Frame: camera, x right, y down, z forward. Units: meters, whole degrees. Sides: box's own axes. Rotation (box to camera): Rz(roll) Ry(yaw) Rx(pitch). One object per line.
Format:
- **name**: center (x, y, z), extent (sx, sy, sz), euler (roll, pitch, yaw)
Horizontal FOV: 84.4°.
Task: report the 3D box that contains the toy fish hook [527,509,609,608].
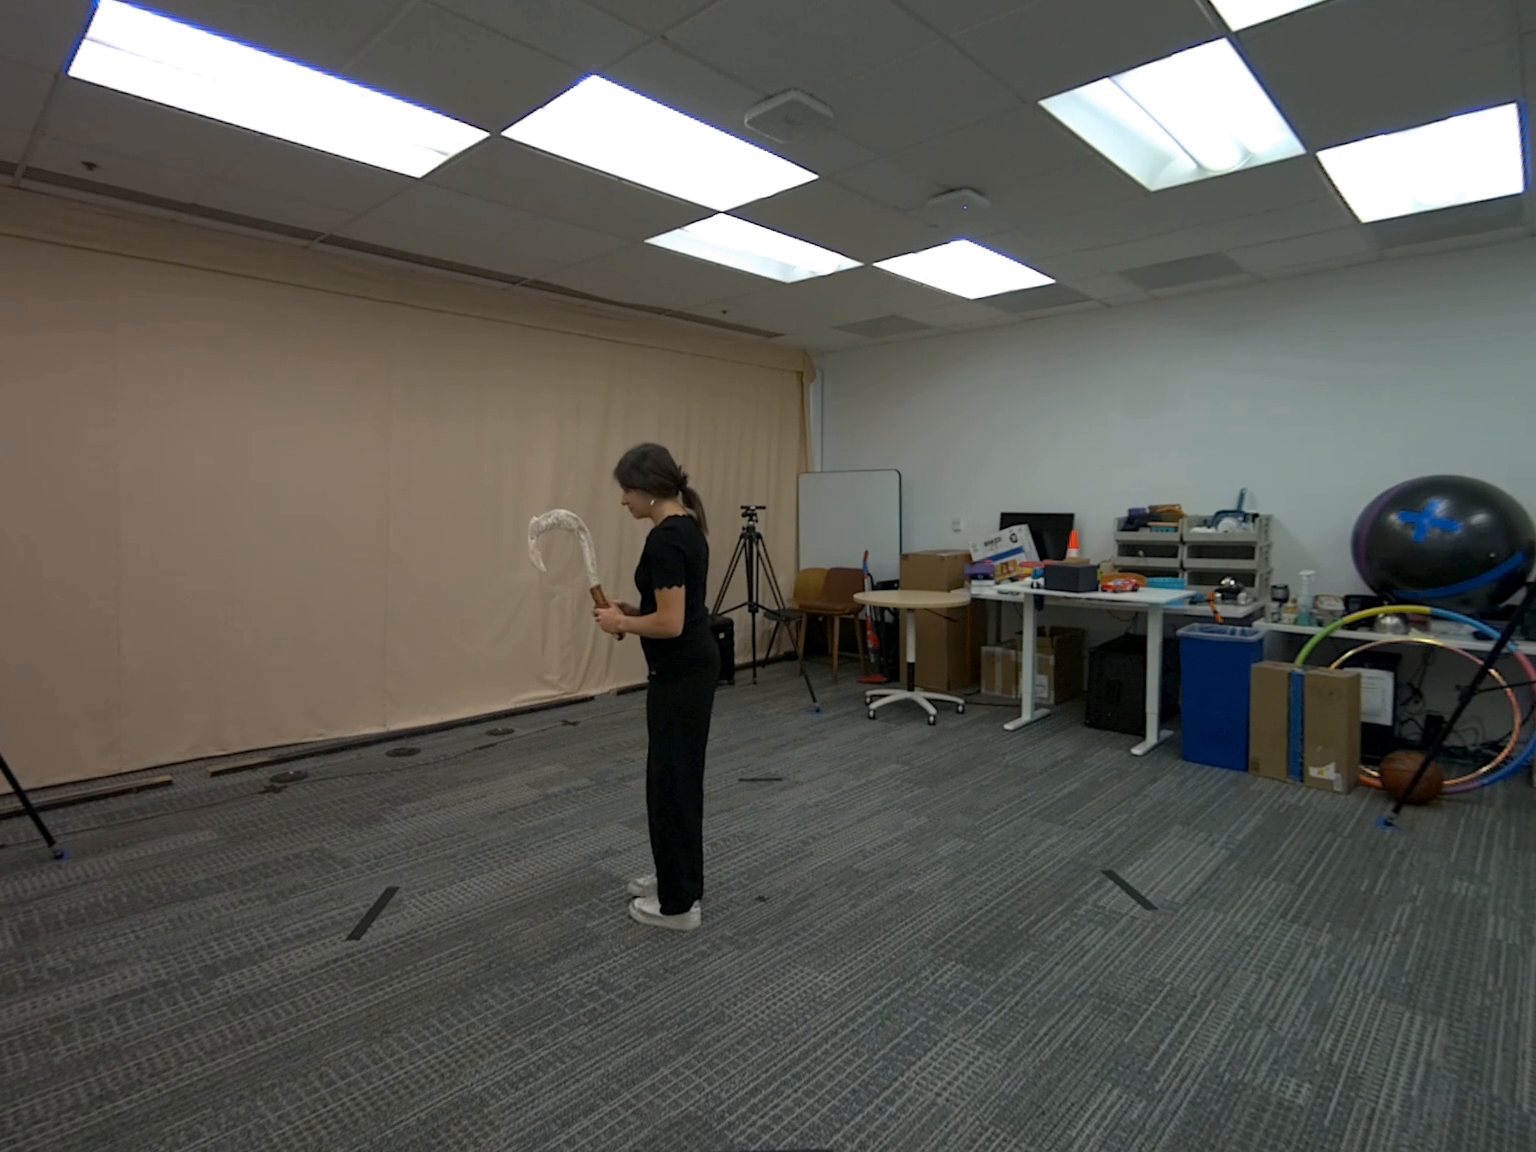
- **toy fish hook**: center (-0.641, 0.011, 2.828), extent (0.221, 0.512, 0.048), euler (-25, -10, -21)
